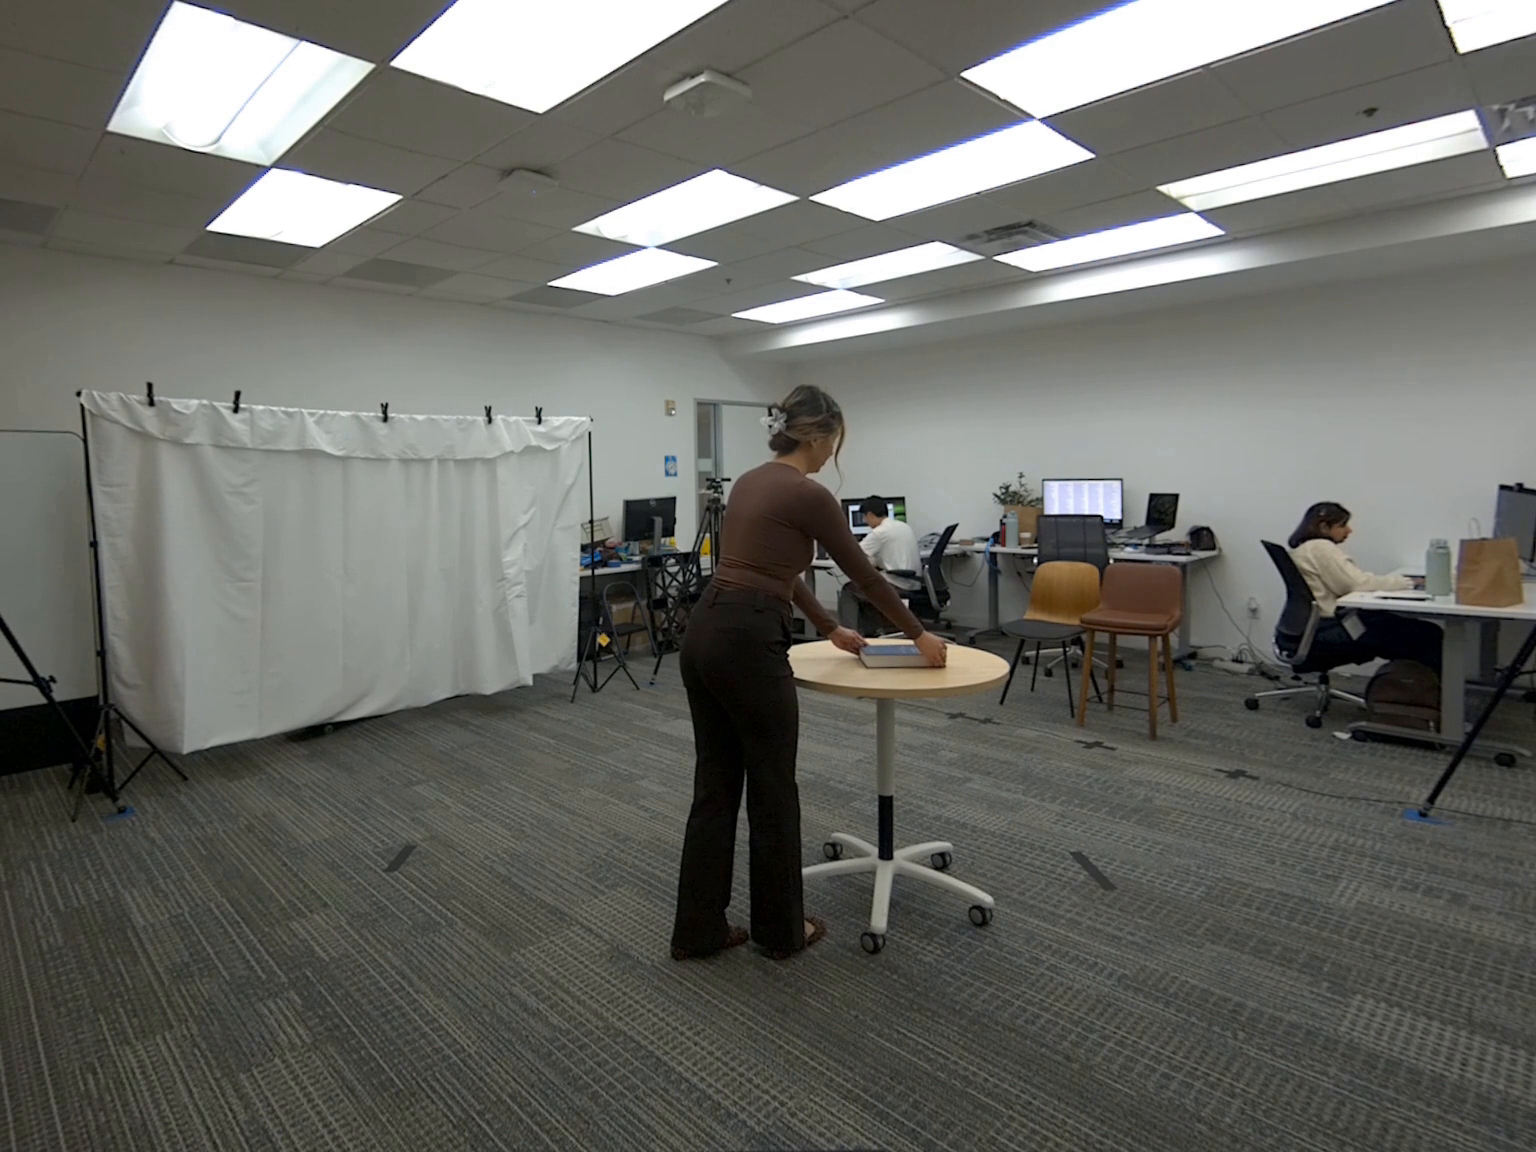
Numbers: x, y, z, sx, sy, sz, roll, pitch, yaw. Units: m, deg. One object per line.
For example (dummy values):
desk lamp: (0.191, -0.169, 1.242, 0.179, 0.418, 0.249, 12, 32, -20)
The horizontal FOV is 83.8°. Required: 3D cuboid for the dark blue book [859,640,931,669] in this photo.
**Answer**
dark blue book: (0.428, 0.260, 2.742, 0.245, 0.045, 0.164, -1, 6, 1)
